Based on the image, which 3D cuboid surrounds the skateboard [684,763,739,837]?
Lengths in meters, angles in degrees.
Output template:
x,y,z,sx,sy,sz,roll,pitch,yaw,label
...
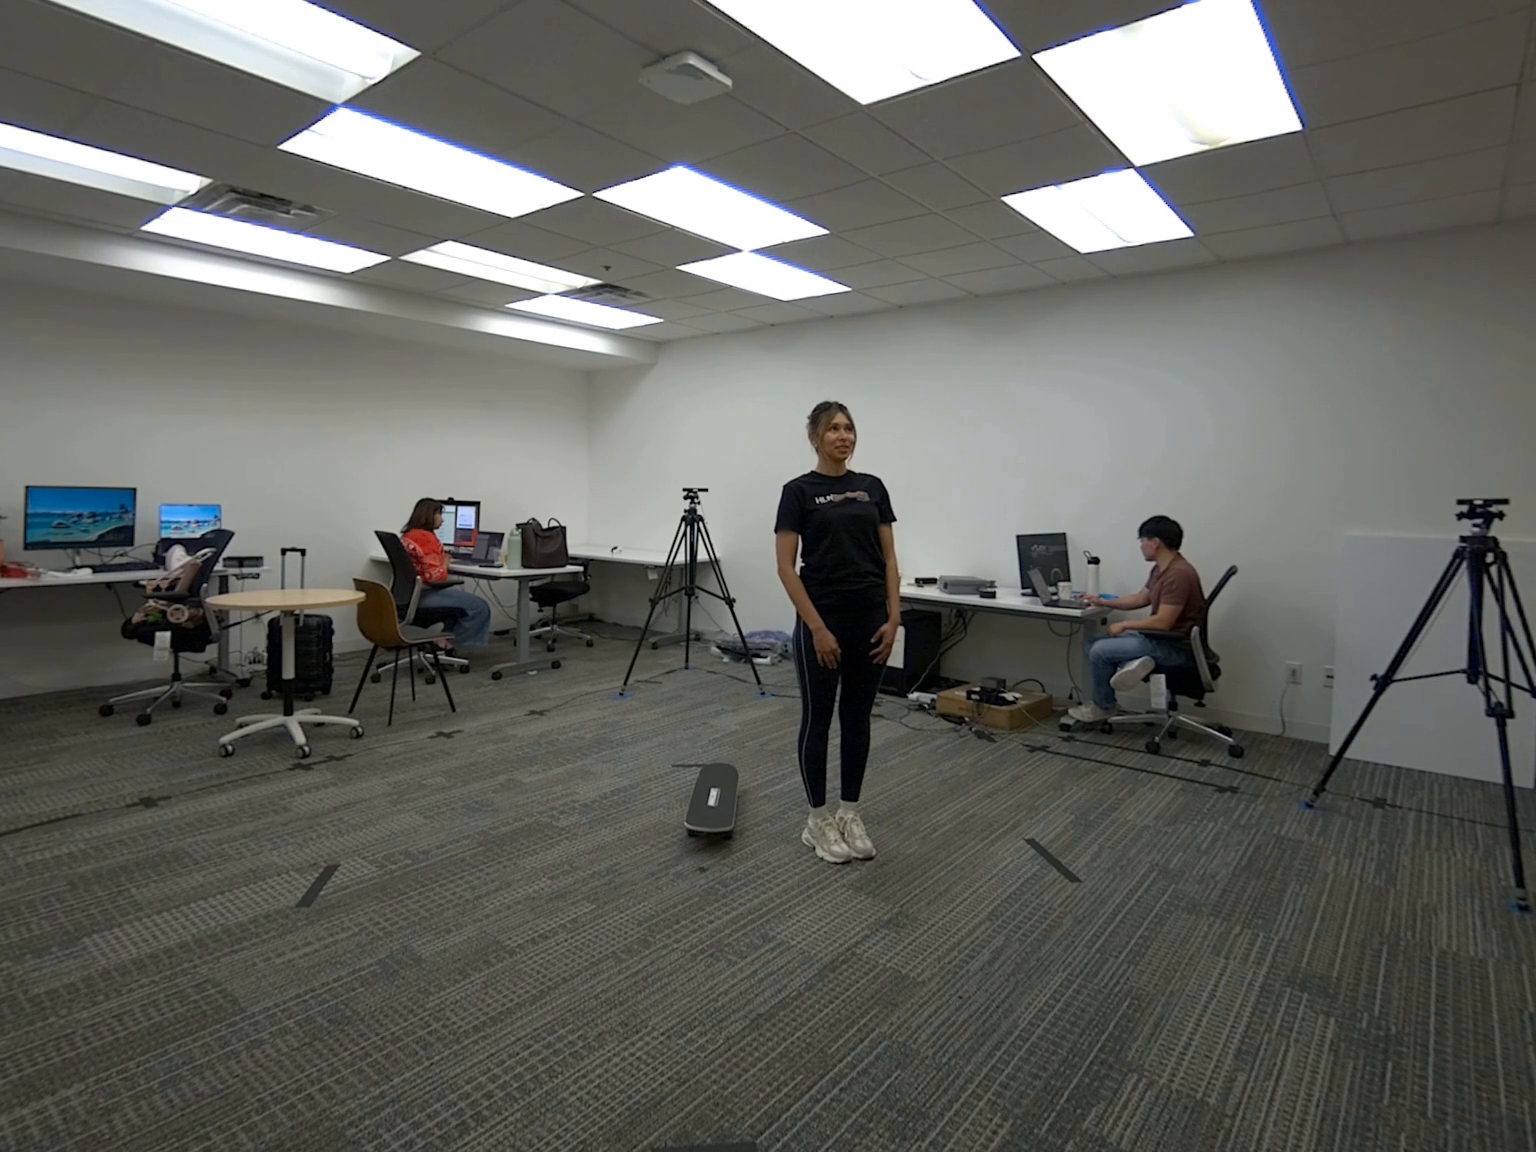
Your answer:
x,y,z,sx,sy,sz,roll,pitch,yaw,label
-0.238,0.962,3.604,0.194,0.110,0.787,1,6,0,skateboard
